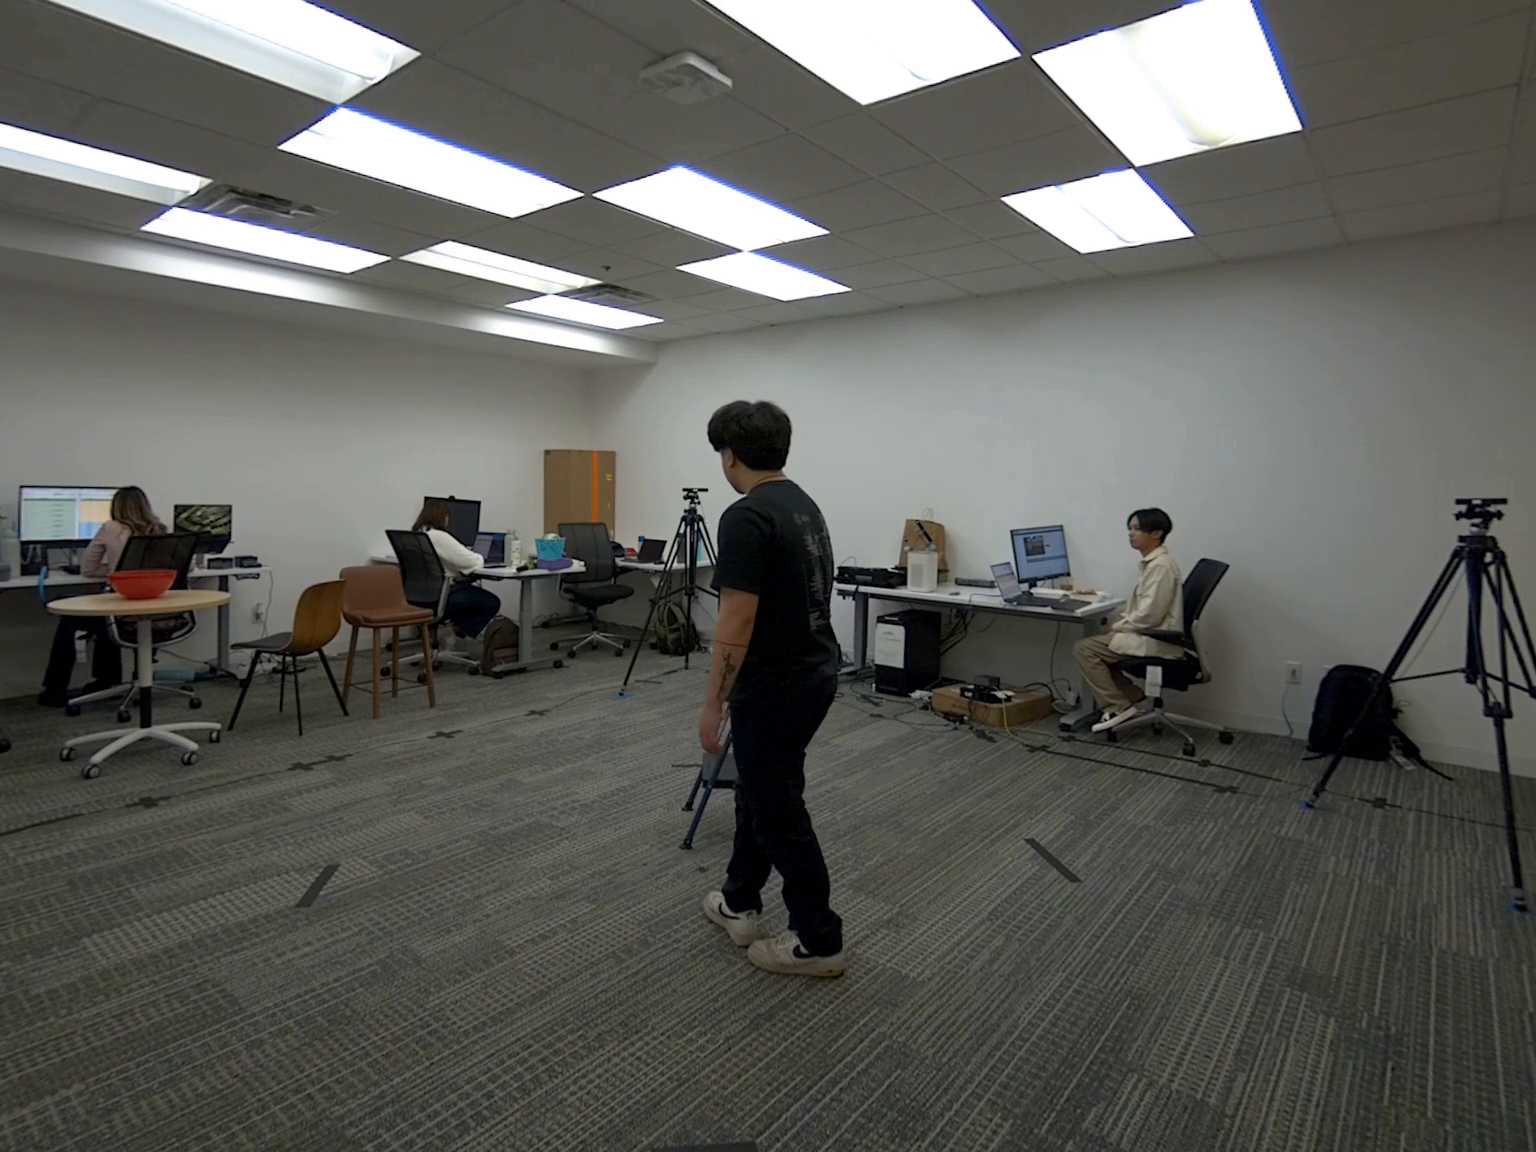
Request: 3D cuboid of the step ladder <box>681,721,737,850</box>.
[{"bbox_3d":[-0.189,0.736,3.483,0.348,0.604,0.433,0,3,-4],"label":"step ladder"}]
